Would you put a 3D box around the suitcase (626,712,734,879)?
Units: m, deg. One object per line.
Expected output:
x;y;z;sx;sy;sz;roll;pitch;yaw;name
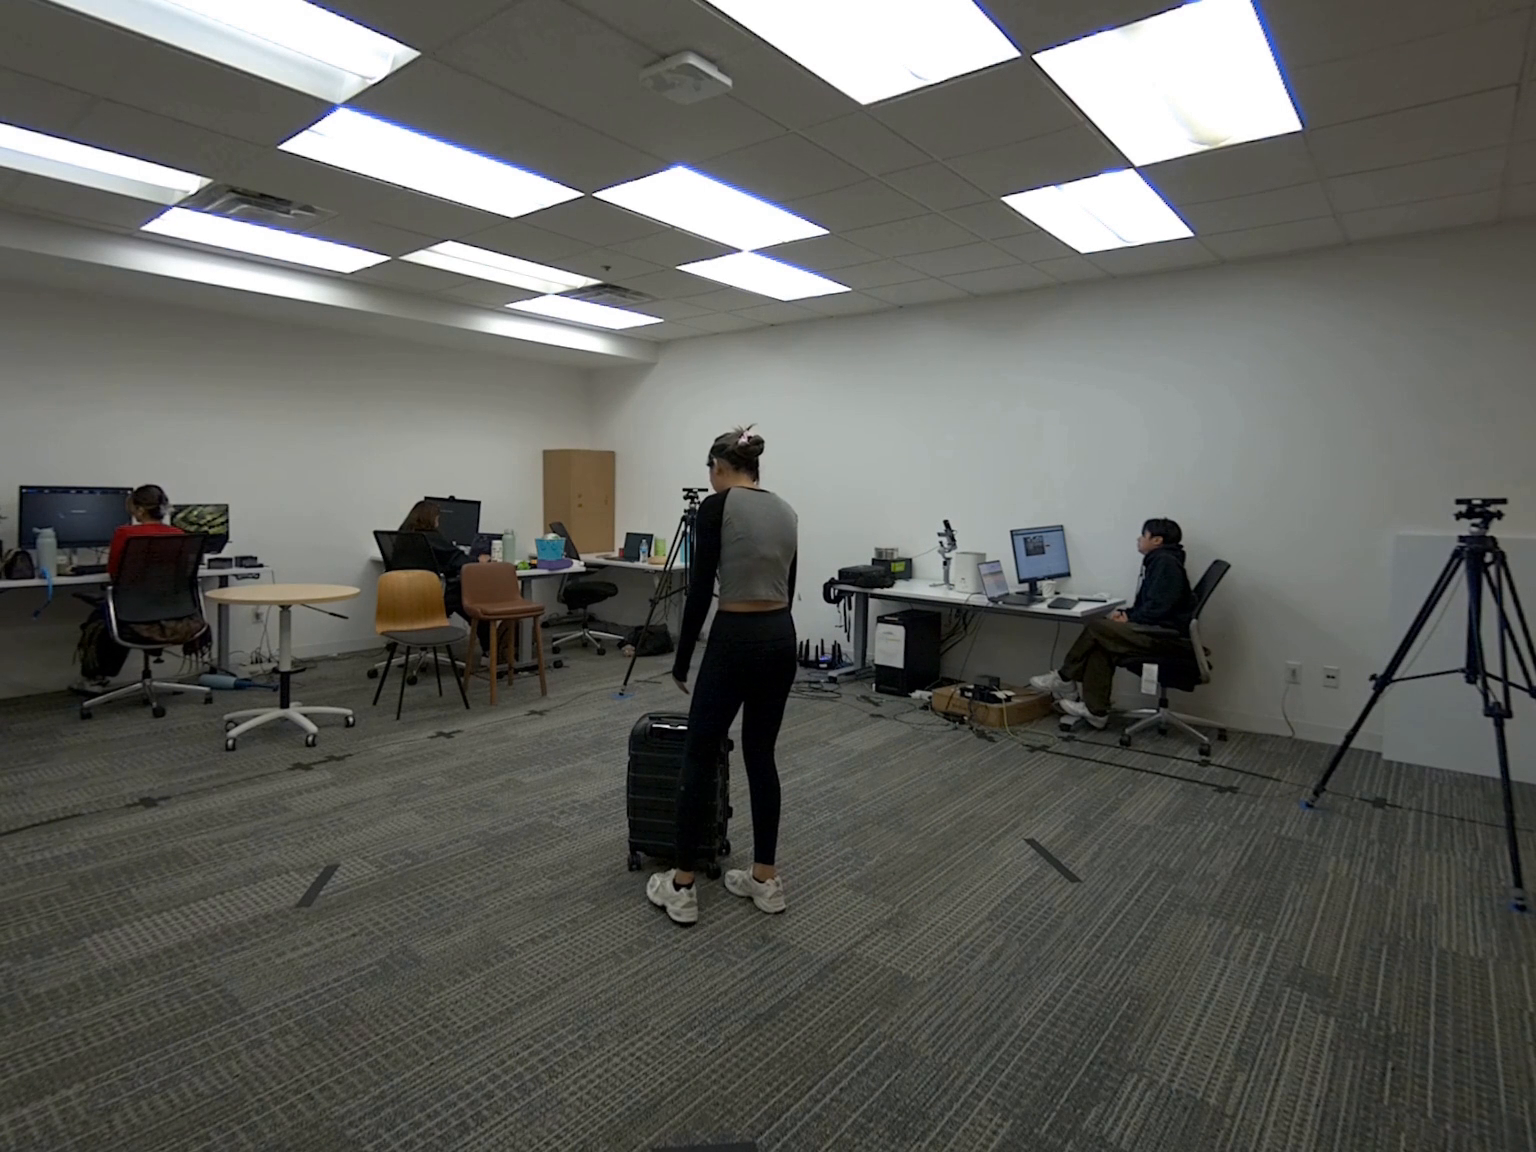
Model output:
-0.346;0.783;3.185;0.381;0.549;0.245;1;1;13;suitcase
